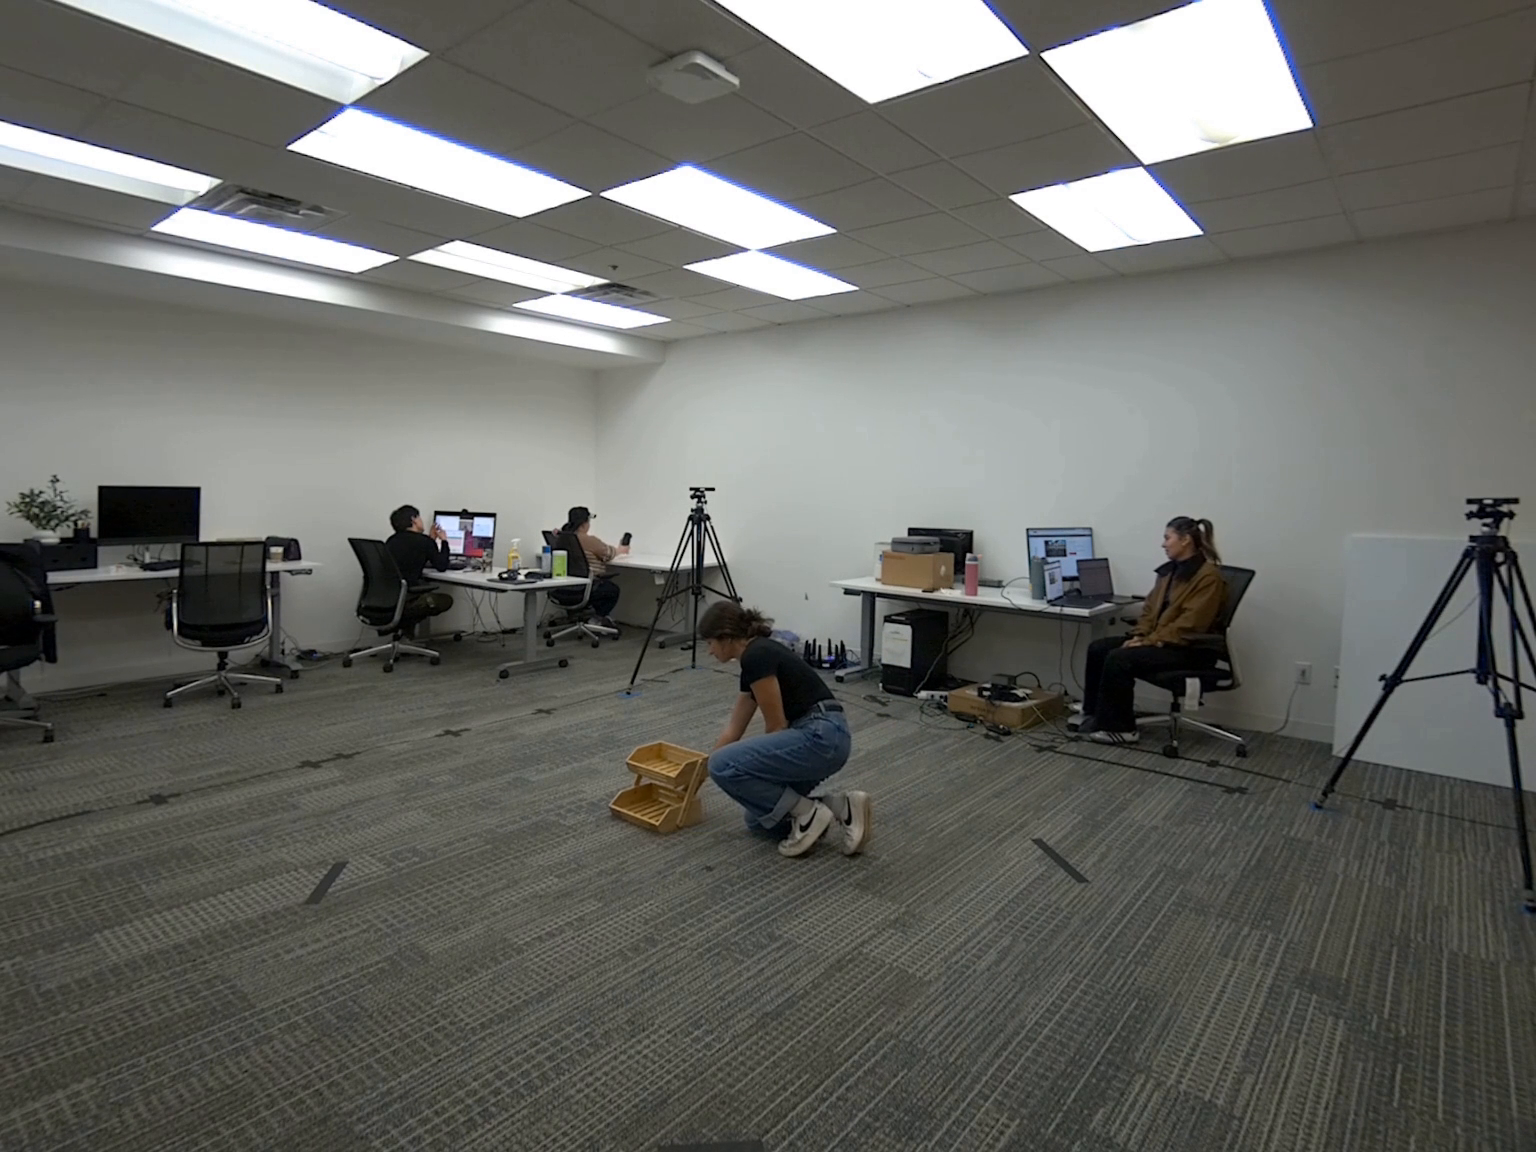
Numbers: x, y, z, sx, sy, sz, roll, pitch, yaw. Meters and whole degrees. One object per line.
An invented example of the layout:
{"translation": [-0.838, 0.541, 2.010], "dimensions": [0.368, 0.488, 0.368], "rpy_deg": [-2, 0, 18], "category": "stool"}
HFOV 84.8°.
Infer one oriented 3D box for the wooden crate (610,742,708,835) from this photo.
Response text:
{"translation": [-0.468, 0.881, 3.594], "dimensions": [0.335, 0.272, 0.293], "rpy_deg": [5, 6, 40], "category": "wooden crate"}
